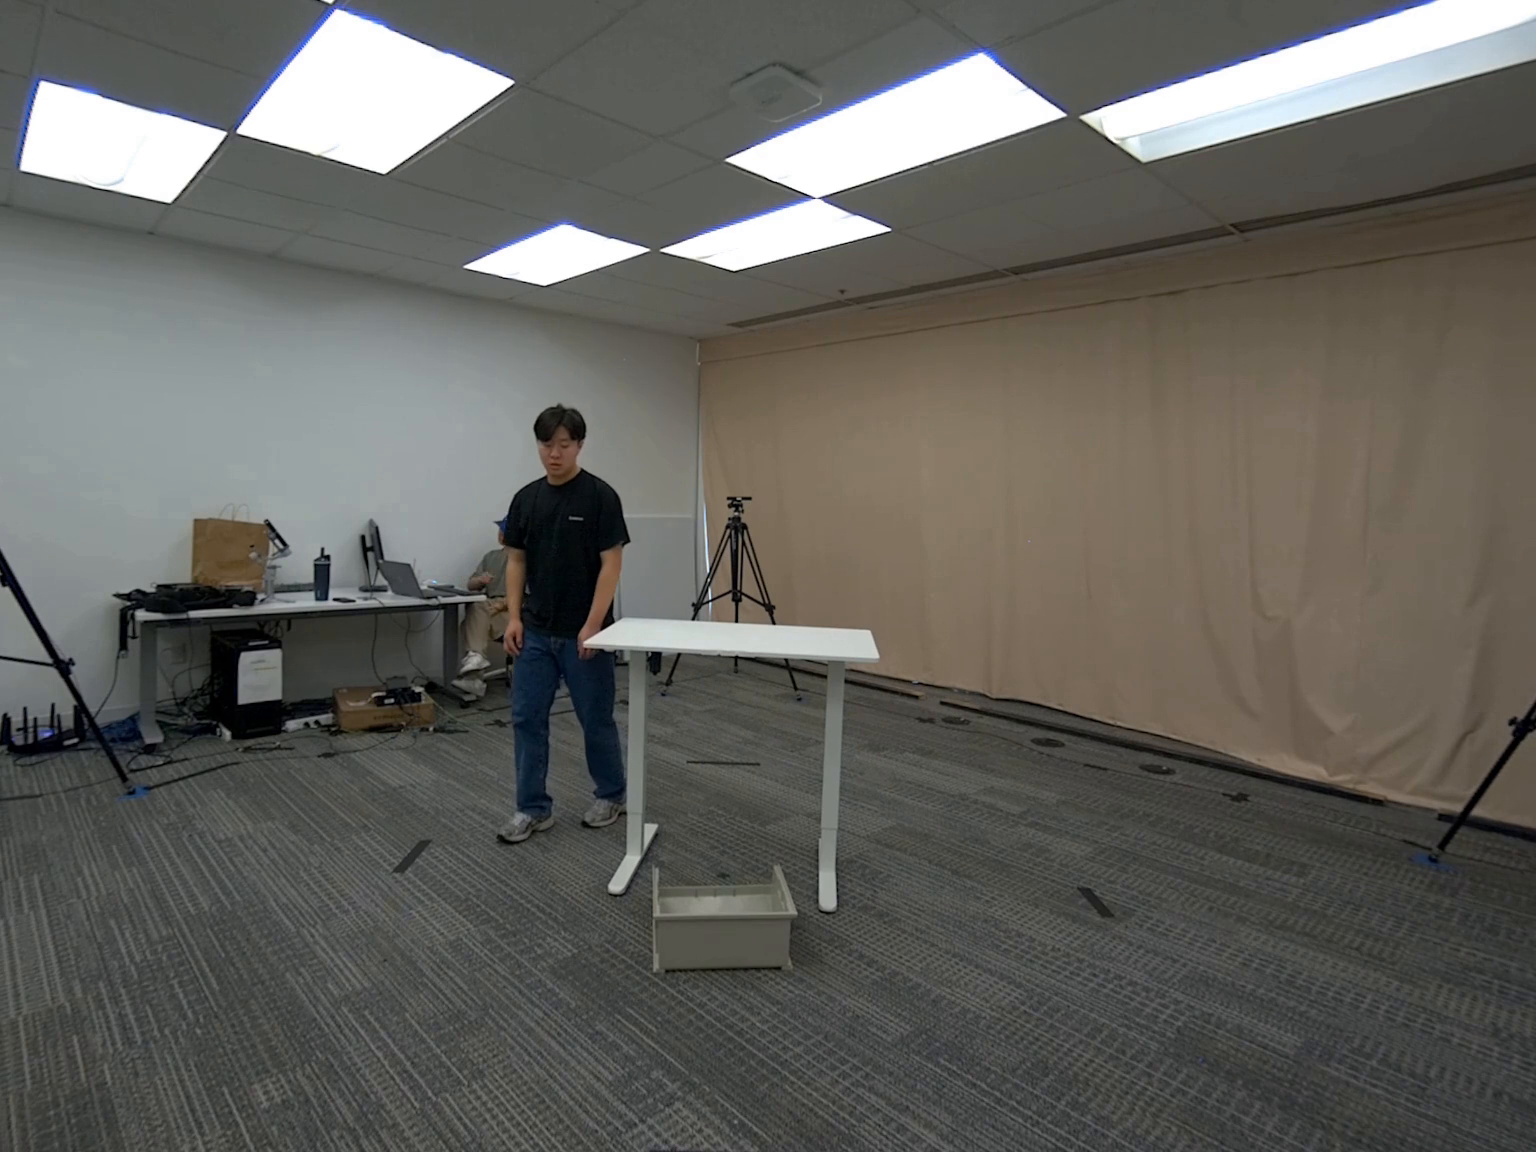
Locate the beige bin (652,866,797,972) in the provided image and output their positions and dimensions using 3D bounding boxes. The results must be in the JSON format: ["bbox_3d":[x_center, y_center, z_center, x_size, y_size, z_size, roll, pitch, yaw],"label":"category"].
[{"bbox_3d":[-0.155,1.062,2.639,0.420,0.188,0.381,1,6,-7],"label":"beige bin"}]
